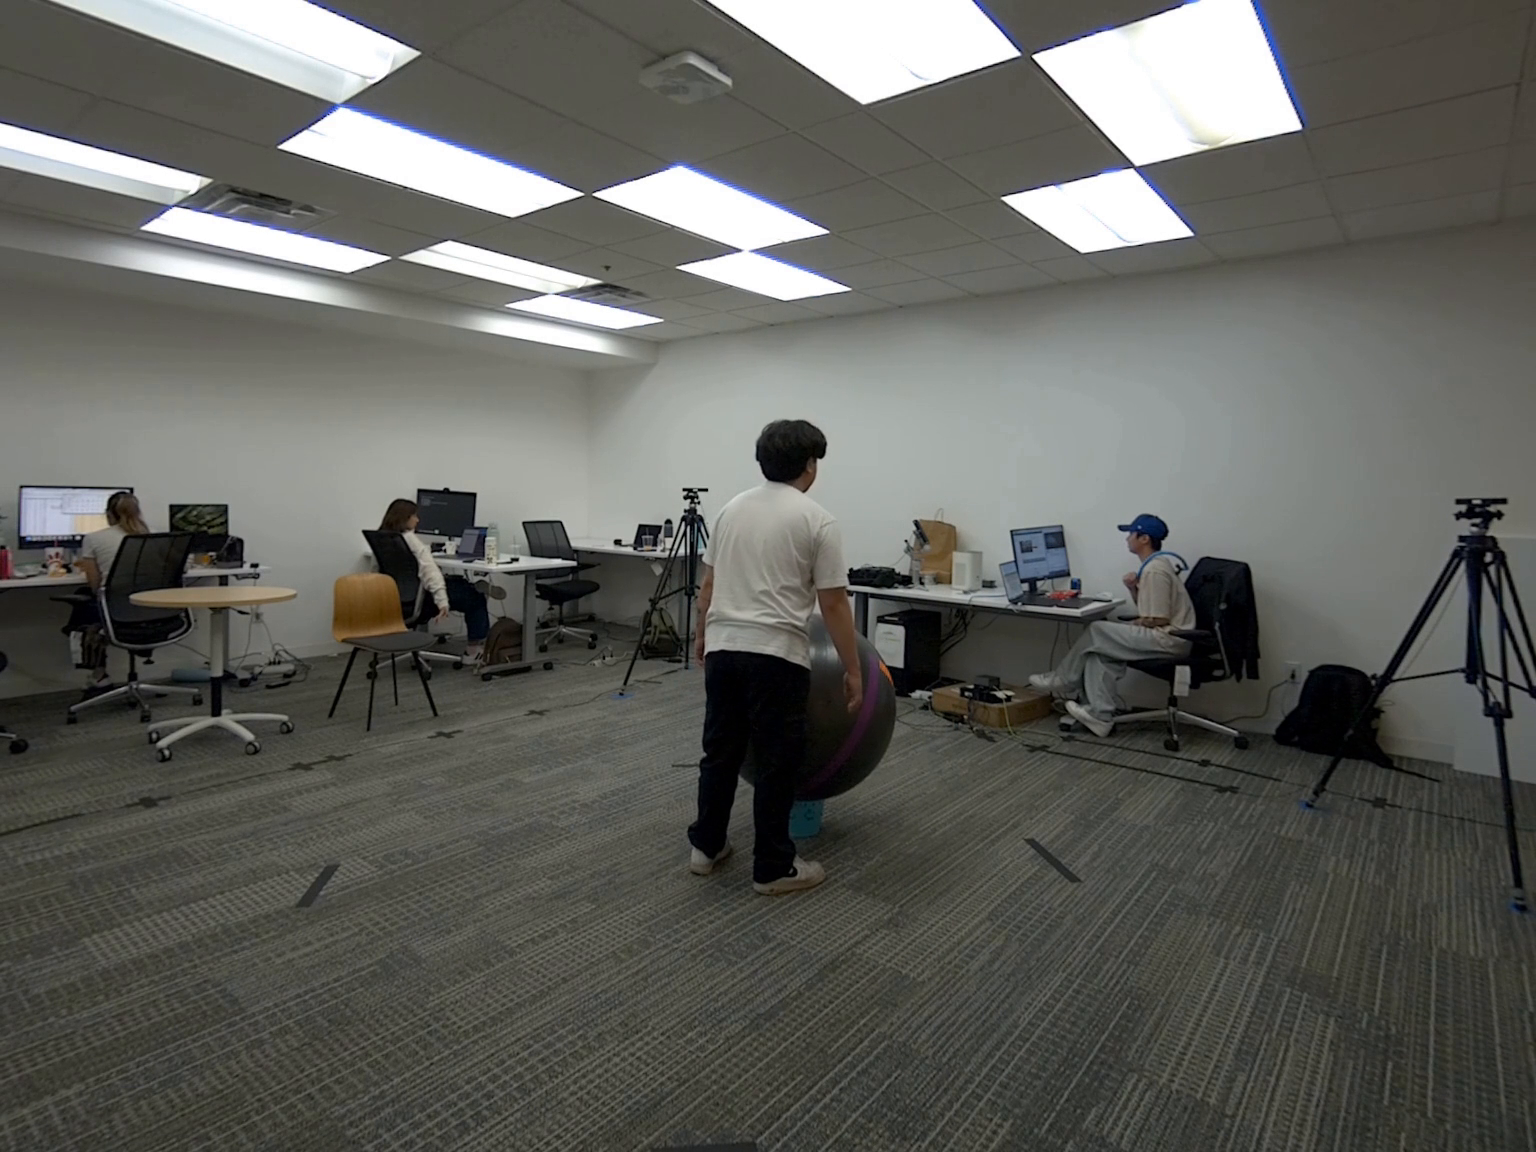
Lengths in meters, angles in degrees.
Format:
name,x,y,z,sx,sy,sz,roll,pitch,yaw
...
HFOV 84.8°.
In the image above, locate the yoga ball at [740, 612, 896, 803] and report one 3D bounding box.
name,x,y,z,sx,sy,sz,roll,pitch,yaw
yoga ball,0.130,0.528,3.491,0.757,0.755,0.762,1,4,-2
